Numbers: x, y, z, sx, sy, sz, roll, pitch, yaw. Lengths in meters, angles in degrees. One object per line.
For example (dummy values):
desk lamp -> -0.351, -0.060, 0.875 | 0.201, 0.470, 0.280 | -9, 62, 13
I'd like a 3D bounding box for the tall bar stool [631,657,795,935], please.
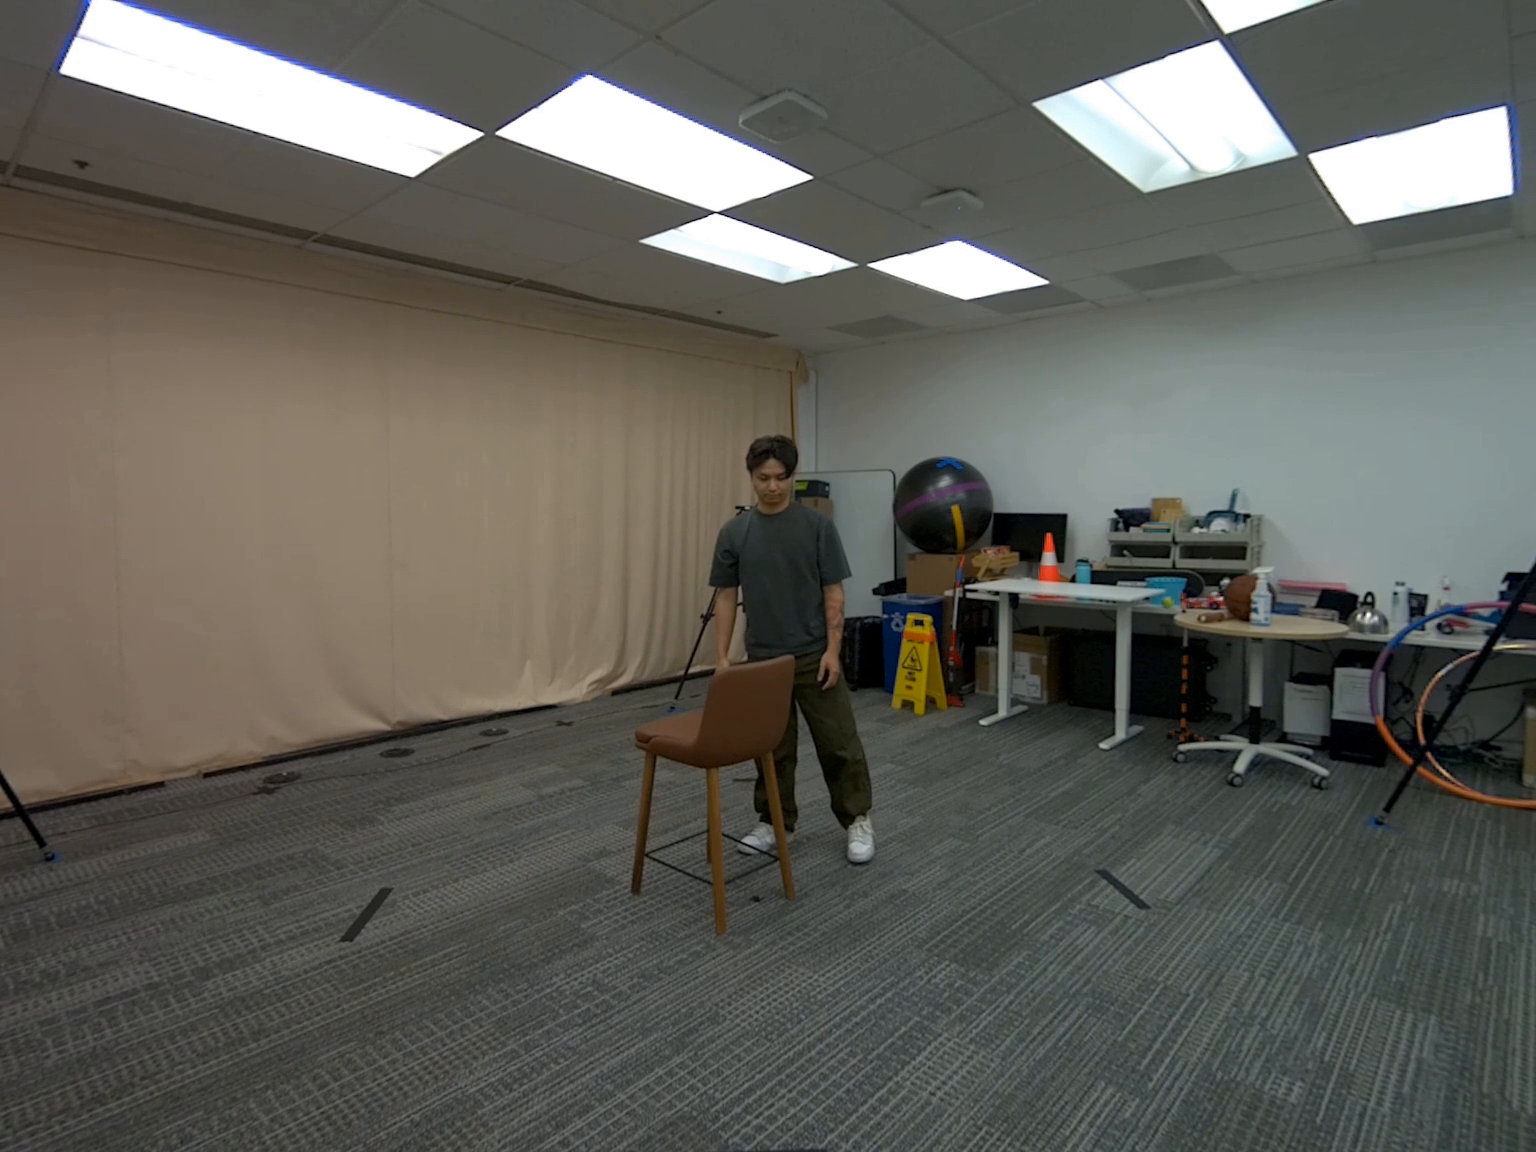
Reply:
tall bar stool -> -0.193, 0.709, 2.987 | 0.483, 0.887, 0.443 | 6, 7, 44
